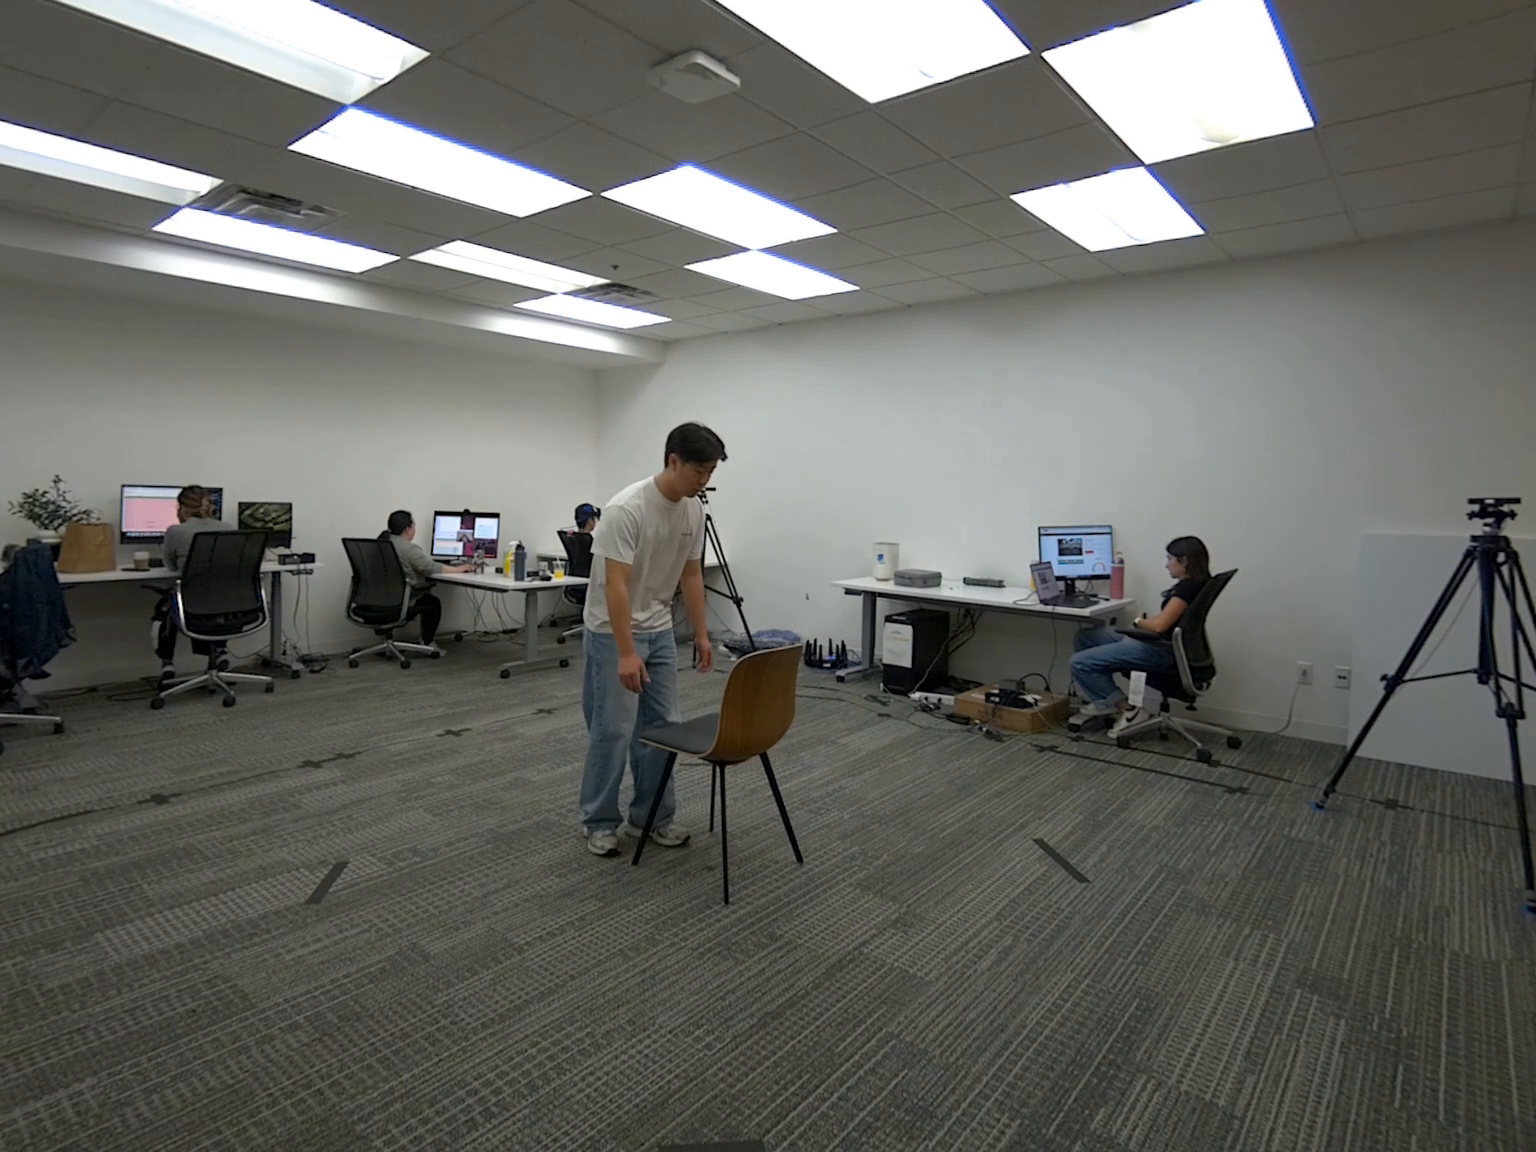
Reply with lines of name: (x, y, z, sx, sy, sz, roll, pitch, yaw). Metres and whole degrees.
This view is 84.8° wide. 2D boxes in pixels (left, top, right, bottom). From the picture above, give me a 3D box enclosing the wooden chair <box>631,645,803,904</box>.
wooden chair: (-0.185, 0.638, 3.127, 0.542, 0.873, 0.464, 9, 7, 38)
